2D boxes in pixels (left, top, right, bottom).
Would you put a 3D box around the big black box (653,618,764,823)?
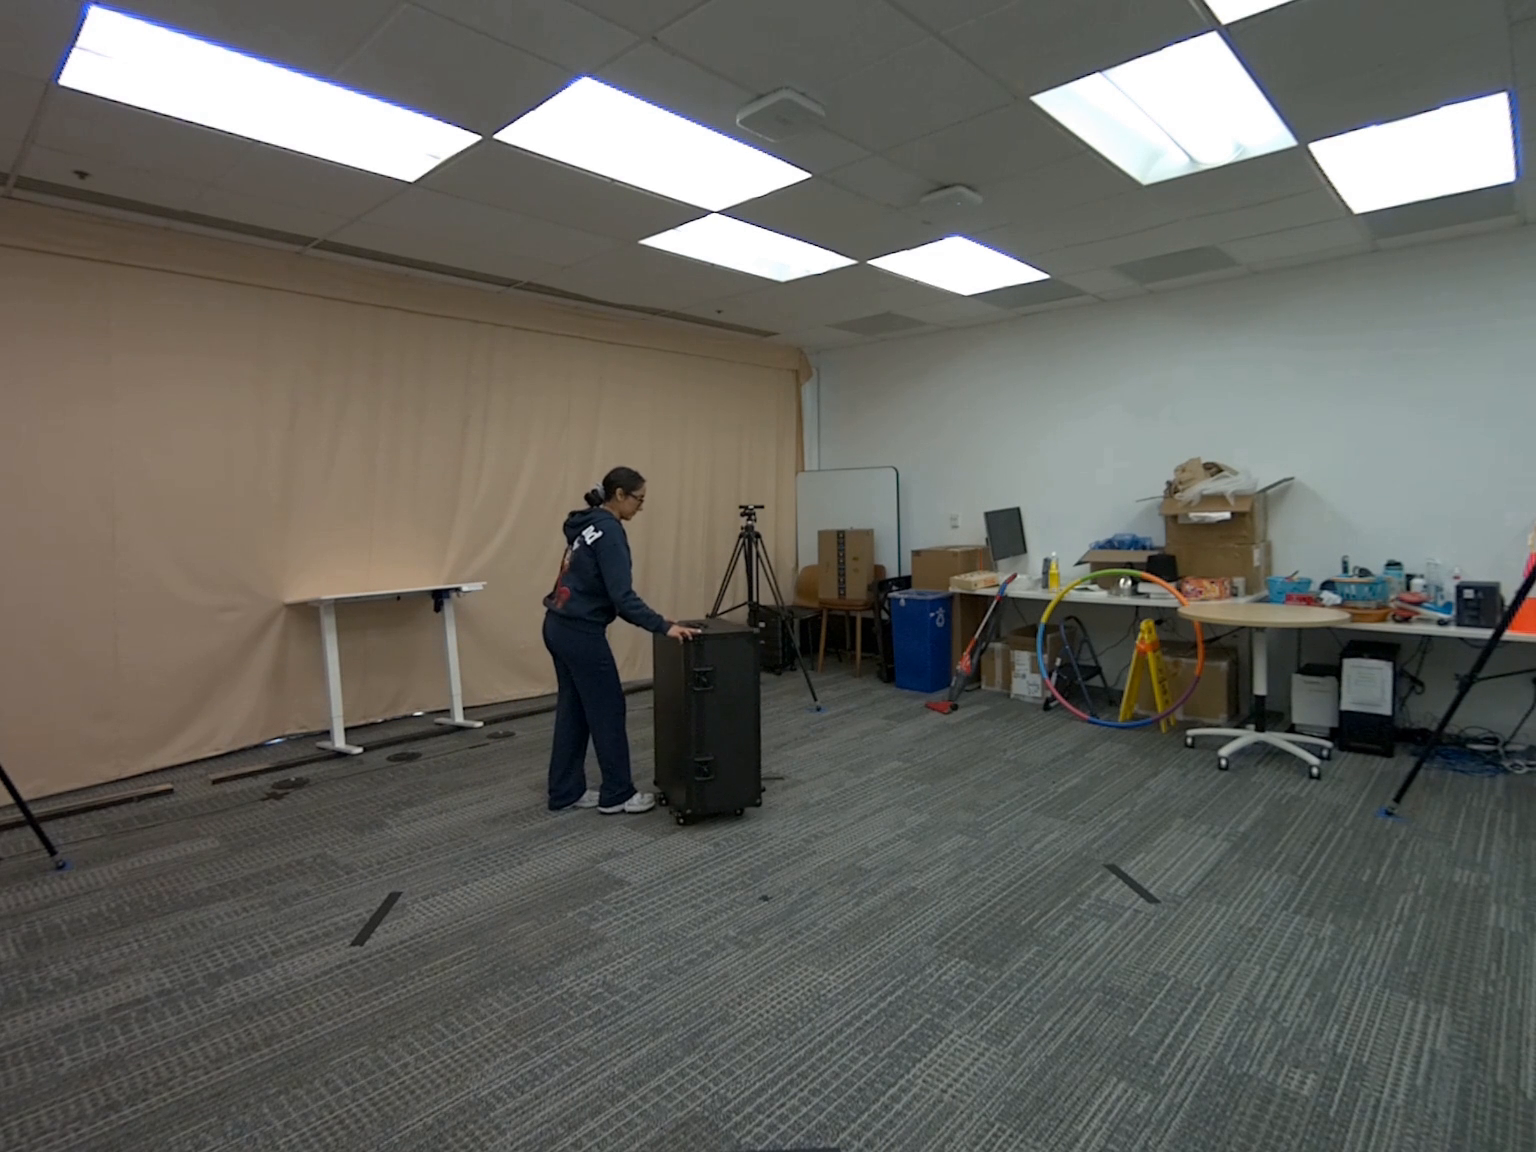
[{"bbox_3d":[-0.282,0.644,3.861,0.387,0.860,0.534,-1,3,-23],"label":"big black box"}]
